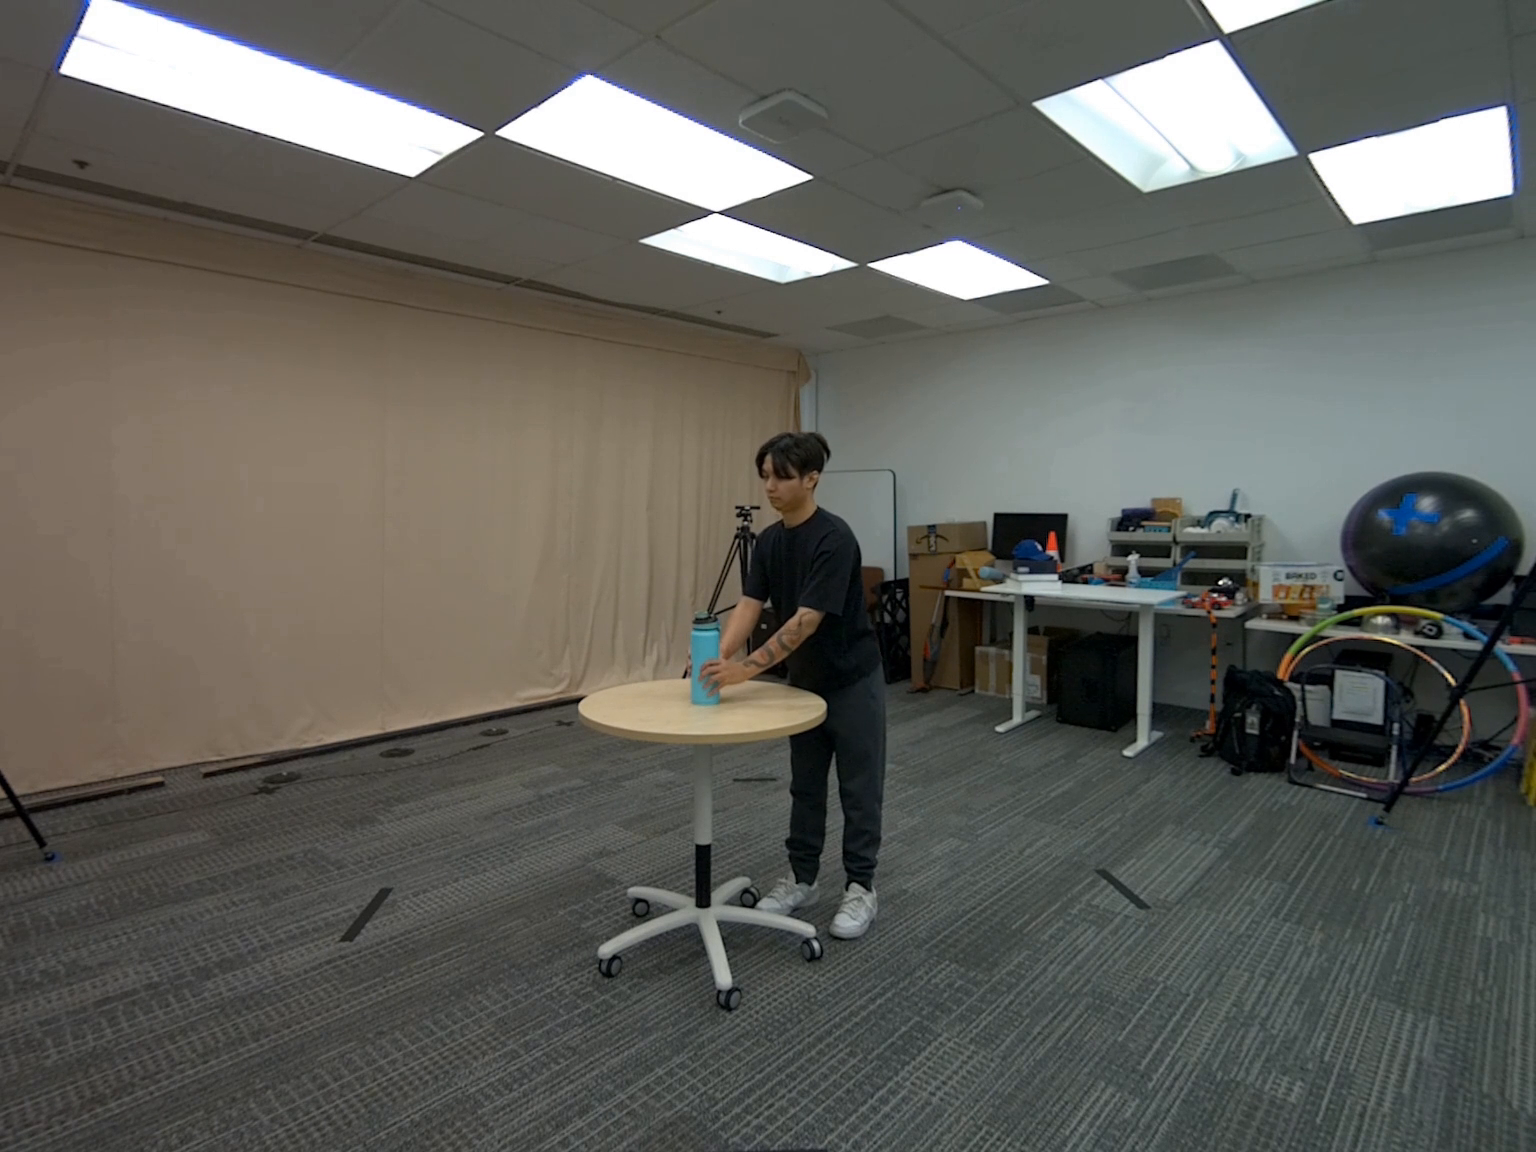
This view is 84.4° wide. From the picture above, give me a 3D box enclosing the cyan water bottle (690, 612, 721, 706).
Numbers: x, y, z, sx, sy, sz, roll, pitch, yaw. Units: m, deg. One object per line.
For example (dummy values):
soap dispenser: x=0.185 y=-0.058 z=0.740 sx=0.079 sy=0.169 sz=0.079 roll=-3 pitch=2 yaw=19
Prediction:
cyan water bottle: x=-0.195 y=0.258 z=2.615 sx=0.092 sy=0.283 sz=0.092 roll=2 pitch=2 yaw=-2
